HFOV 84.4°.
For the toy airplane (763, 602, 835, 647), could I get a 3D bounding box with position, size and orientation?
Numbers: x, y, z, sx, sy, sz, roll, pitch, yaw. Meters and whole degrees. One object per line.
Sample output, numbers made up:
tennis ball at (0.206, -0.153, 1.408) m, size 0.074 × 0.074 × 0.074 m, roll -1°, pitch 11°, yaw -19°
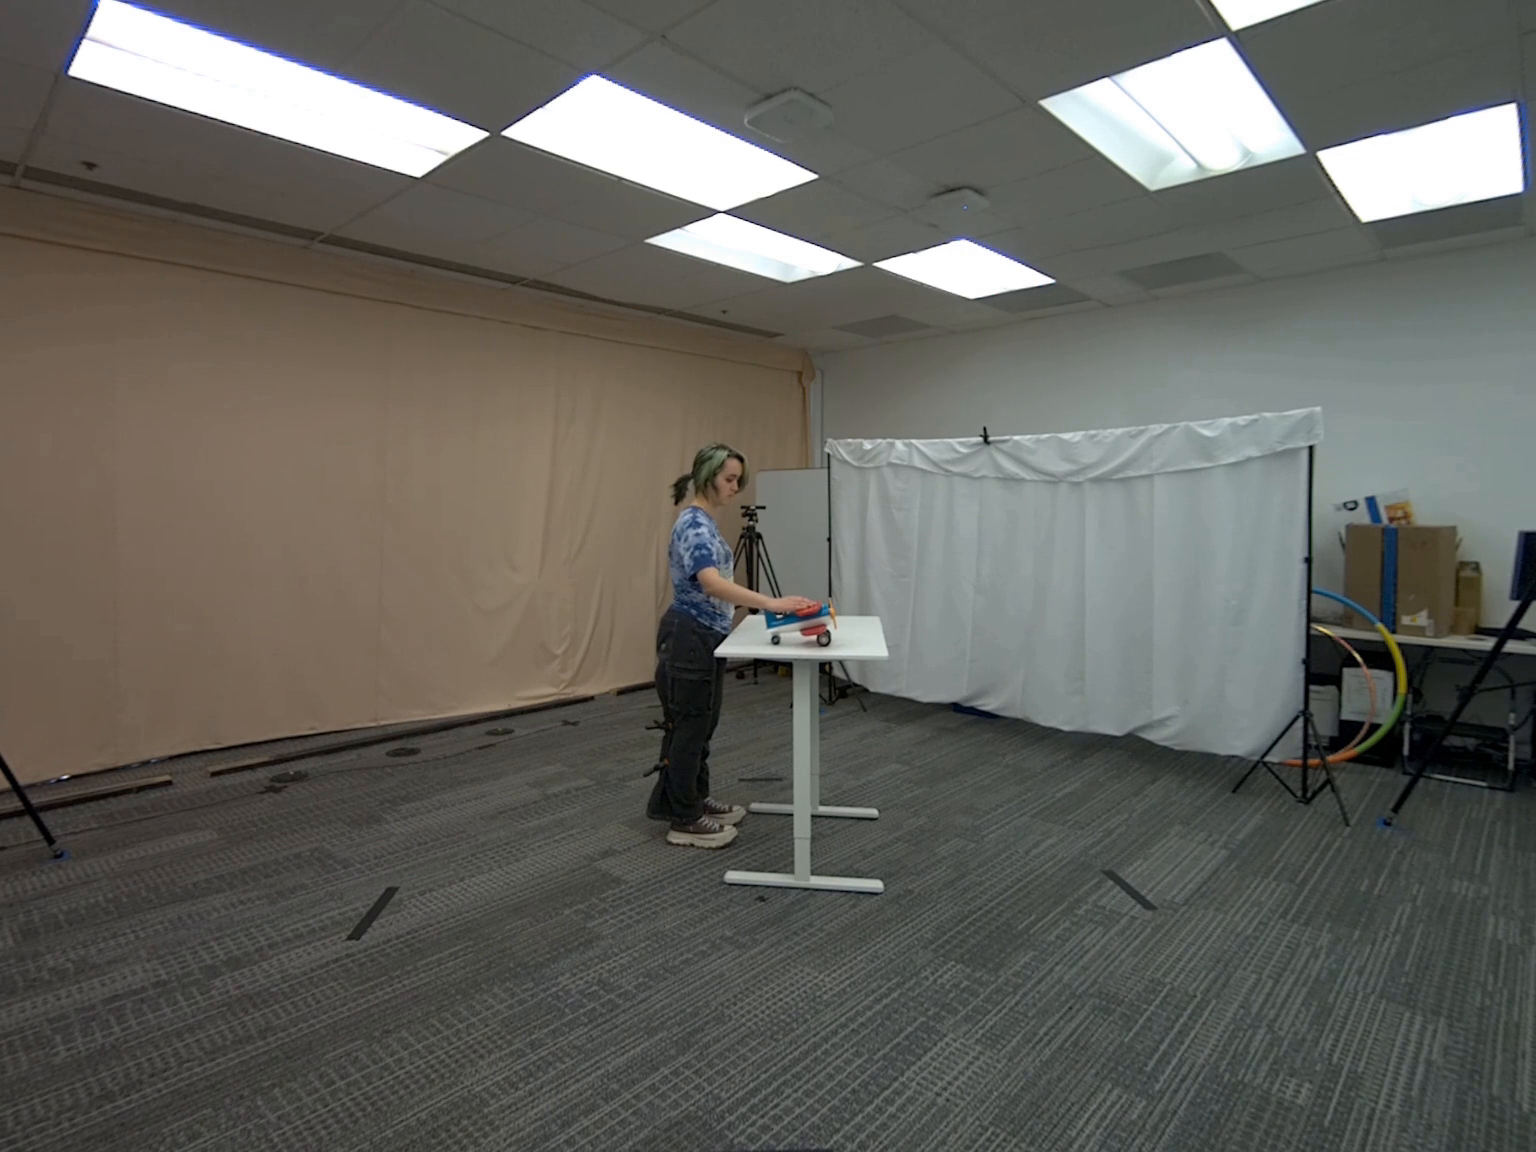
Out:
toy airplane at (0.124, 0.177, 3.080) m, size 0.253 × 0.156 × 0.257 m, roll -1°, pitch 5°, yaw -23°
